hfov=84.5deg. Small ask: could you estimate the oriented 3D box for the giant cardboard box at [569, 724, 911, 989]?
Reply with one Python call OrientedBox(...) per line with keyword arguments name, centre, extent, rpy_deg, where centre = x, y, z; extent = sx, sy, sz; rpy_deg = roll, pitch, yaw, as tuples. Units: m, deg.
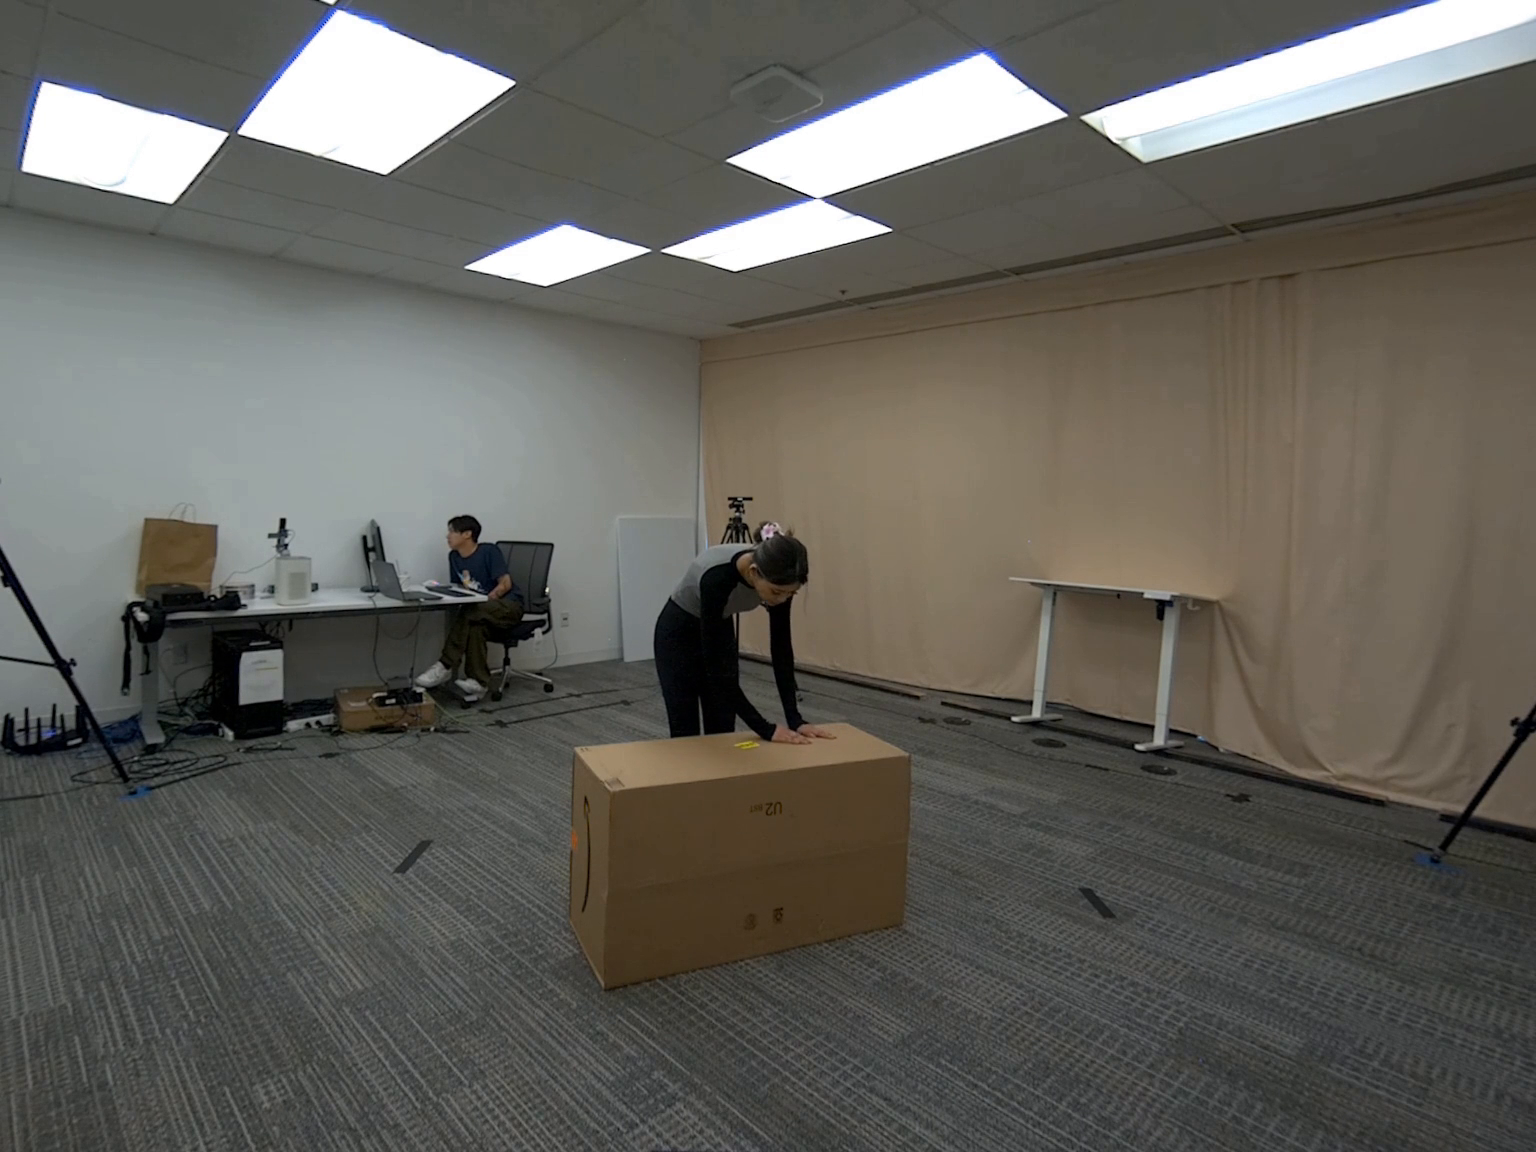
OrientedBox(name="giant cardboard box", centre=(-0.092, 0.856, 2.741), extent=(1.008, 0.576, 0.435), rpy_deg=(0, 4, -24))
